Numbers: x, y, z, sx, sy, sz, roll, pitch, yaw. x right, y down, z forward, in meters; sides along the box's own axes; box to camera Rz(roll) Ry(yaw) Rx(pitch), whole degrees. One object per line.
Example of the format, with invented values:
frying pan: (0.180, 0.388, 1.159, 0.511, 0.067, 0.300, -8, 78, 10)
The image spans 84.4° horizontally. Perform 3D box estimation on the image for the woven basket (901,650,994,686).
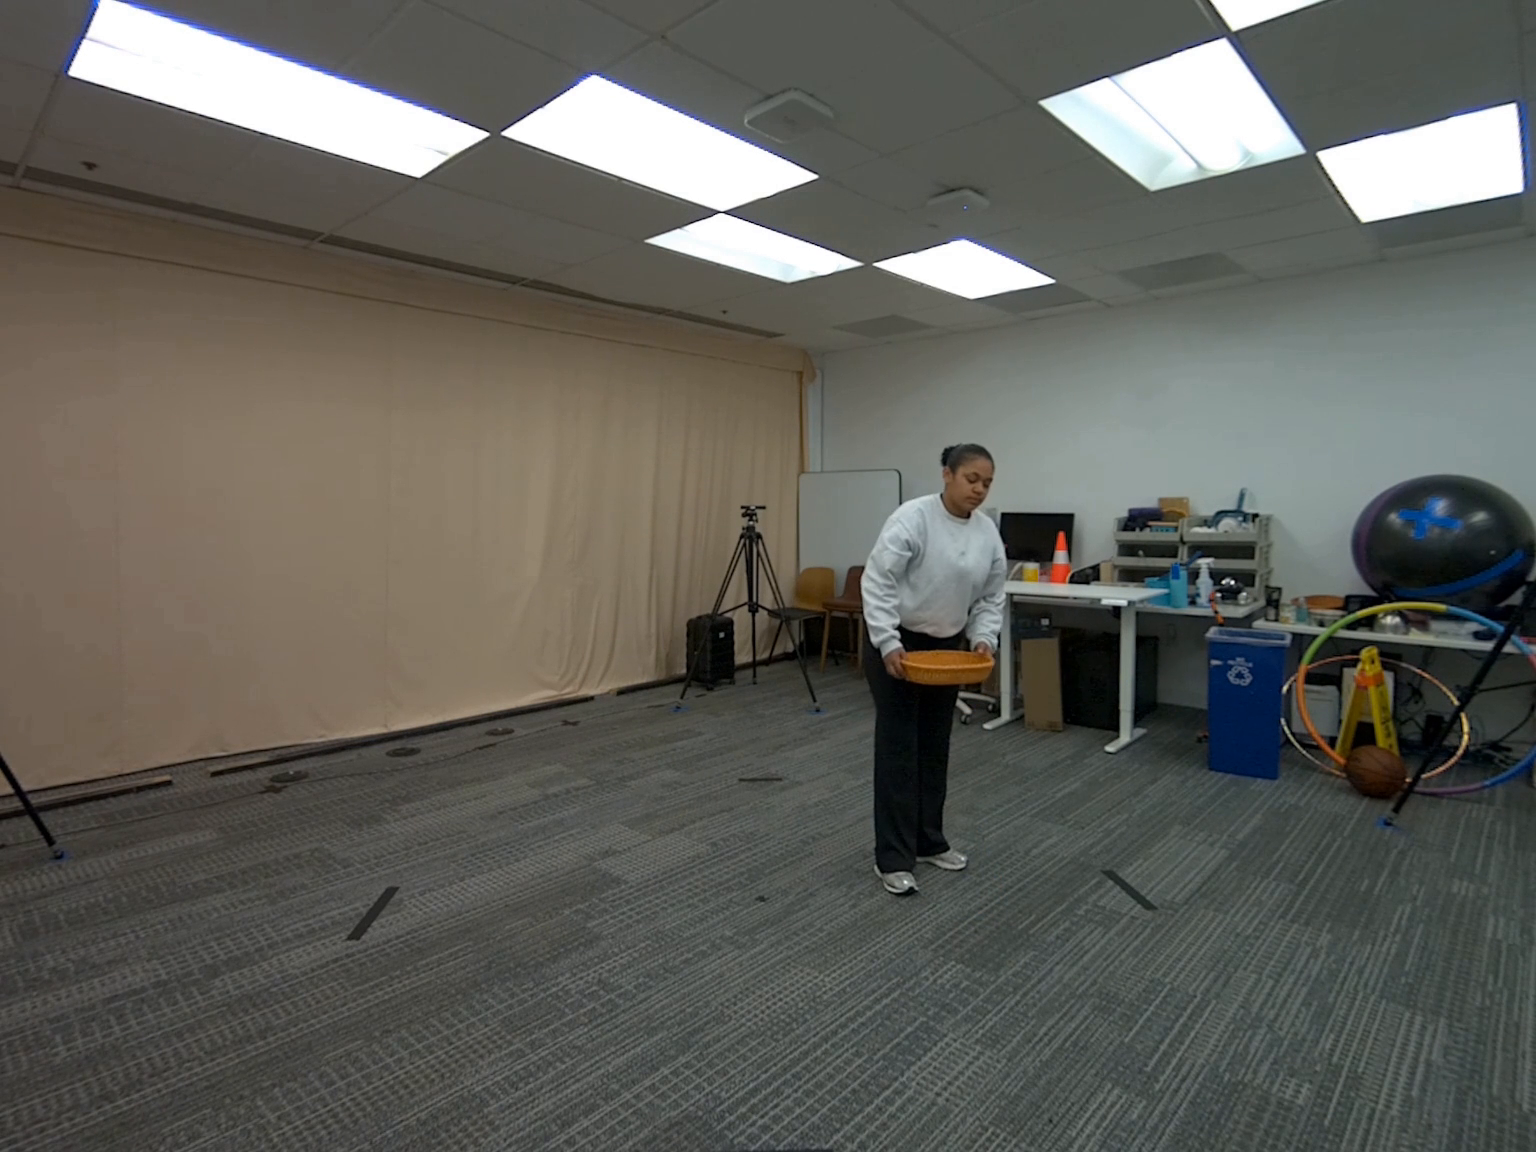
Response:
woven basket: (0.631, 0.329, 2.980, 0.344, 0.073, 0.258, -3, 8, -17)
